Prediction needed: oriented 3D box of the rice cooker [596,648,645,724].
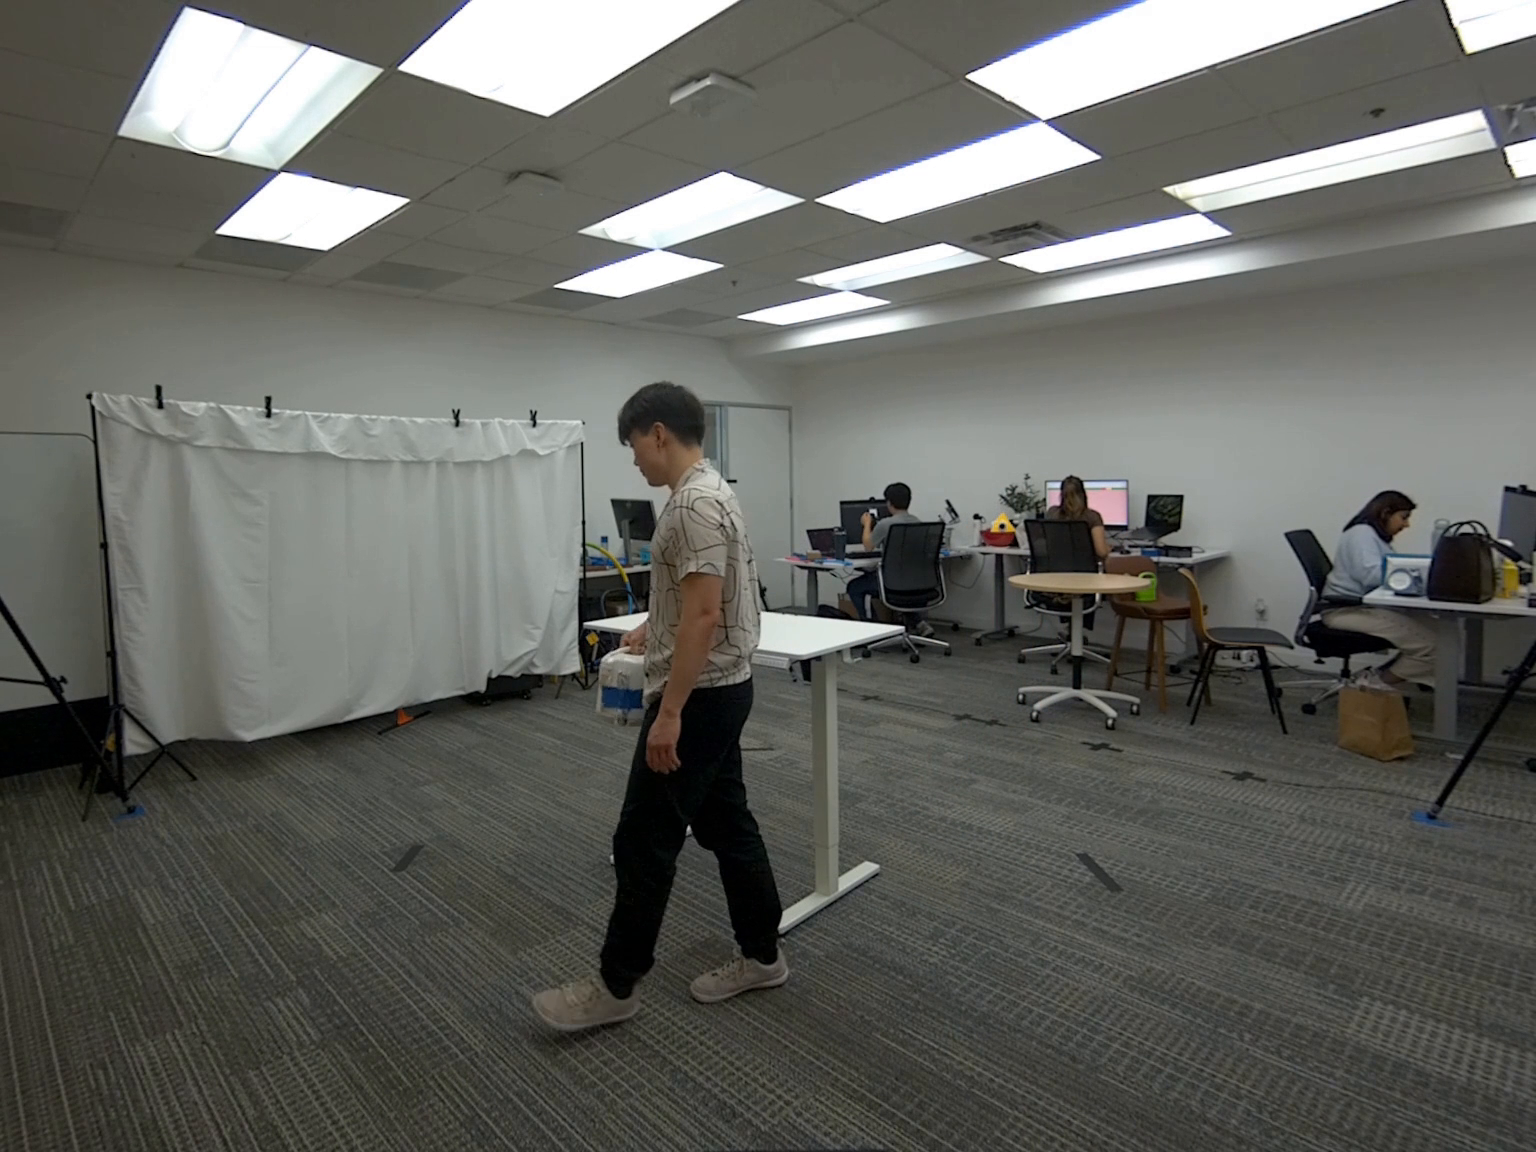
[{"bbox_3d":[-0.409,0.332,2.573,0.214,0.233,0.223,9,-4,-34],"label":"rice cooker"}]
